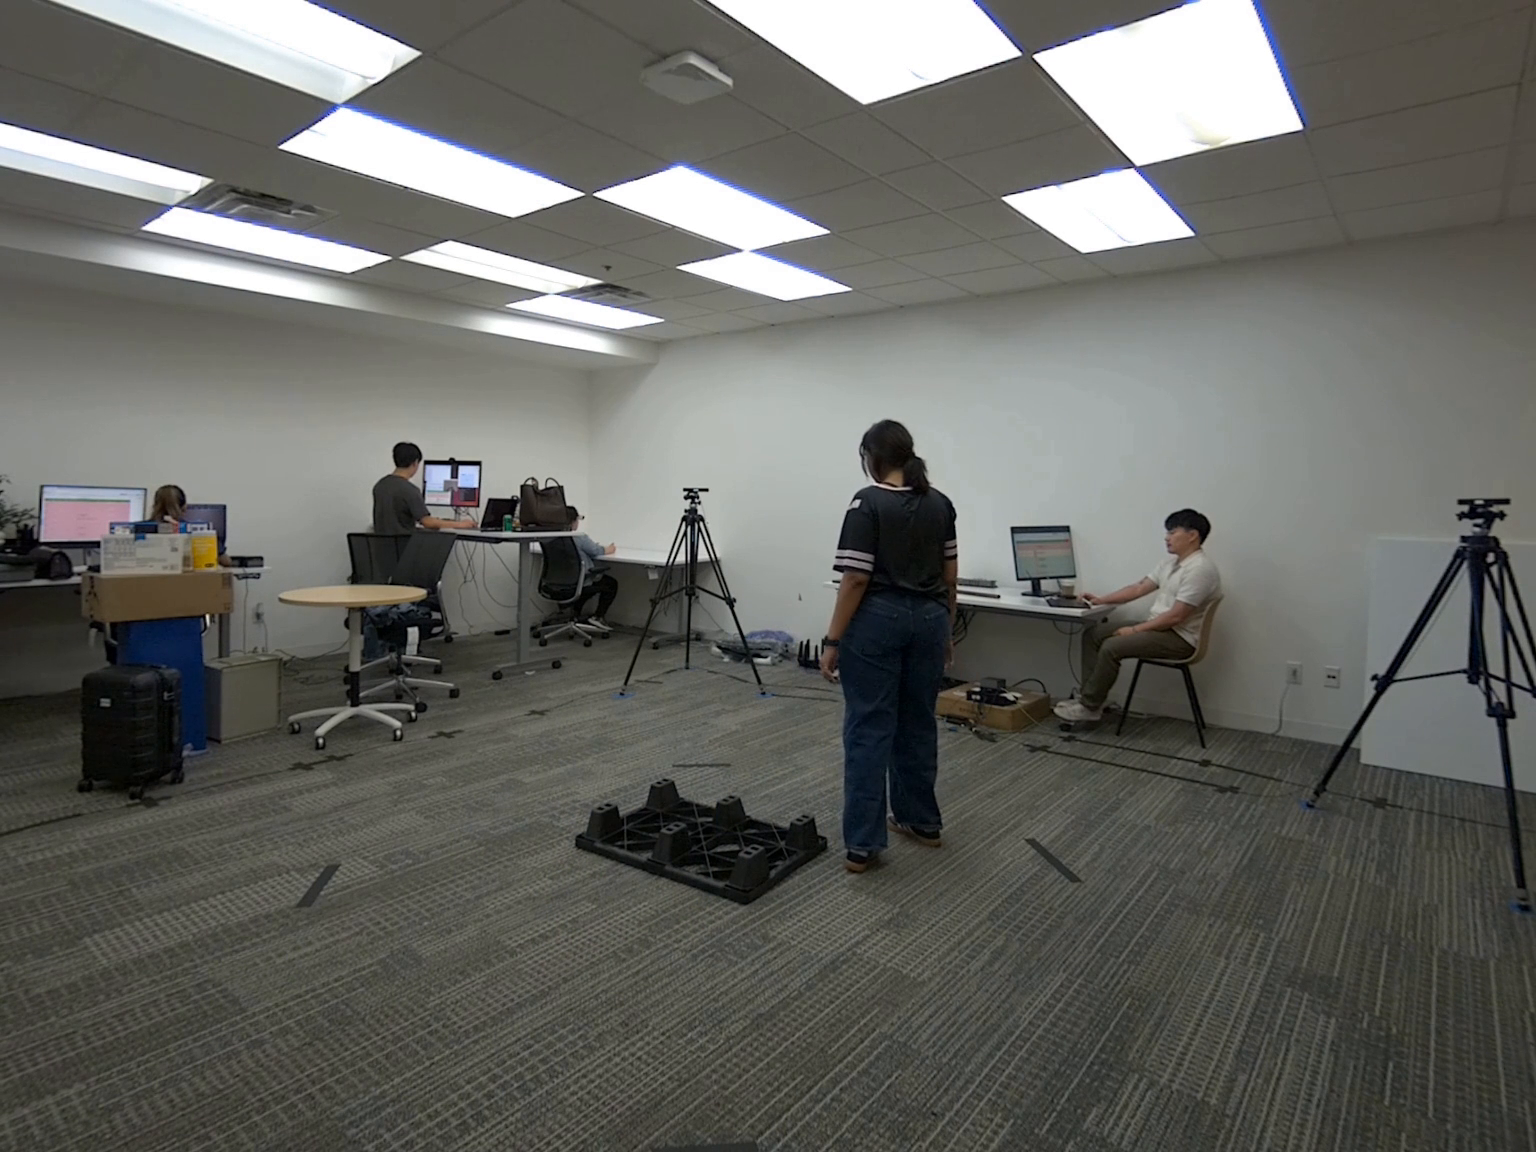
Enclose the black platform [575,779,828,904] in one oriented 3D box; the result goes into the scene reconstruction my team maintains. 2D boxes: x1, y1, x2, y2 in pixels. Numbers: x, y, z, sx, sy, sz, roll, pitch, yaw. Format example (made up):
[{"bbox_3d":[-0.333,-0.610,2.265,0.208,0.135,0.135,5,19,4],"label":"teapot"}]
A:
[{"bbox_3d":[-0.261,0.986,3.307,0.831,0.143,0.589,4,7,32],"label":"black platform"}]
